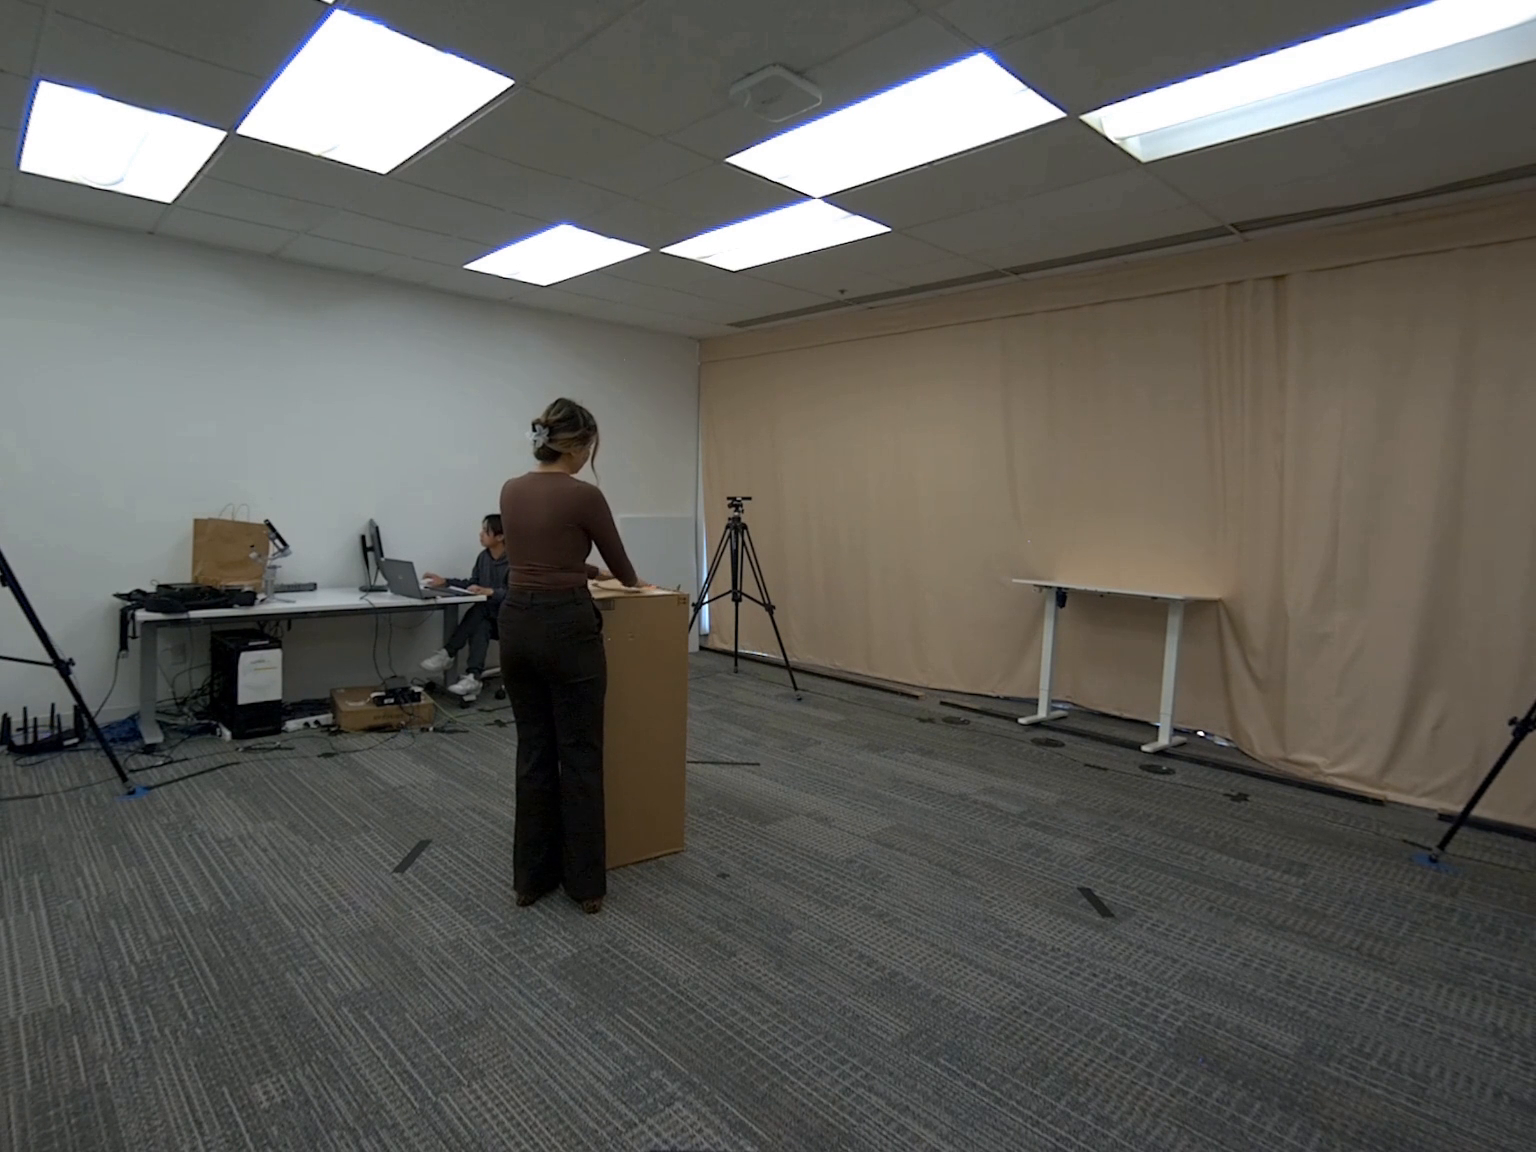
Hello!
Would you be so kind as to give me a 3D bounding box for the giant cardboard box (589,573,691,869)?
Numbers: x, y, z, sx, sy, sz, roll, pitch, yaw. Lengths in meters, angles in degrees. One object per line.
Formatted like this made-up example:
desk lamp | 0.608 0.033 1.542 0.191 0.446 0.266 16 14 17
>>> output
giant cardboard box | -0.661 0.557 3.407 0.437 1.025 0.598 0 4 -36
